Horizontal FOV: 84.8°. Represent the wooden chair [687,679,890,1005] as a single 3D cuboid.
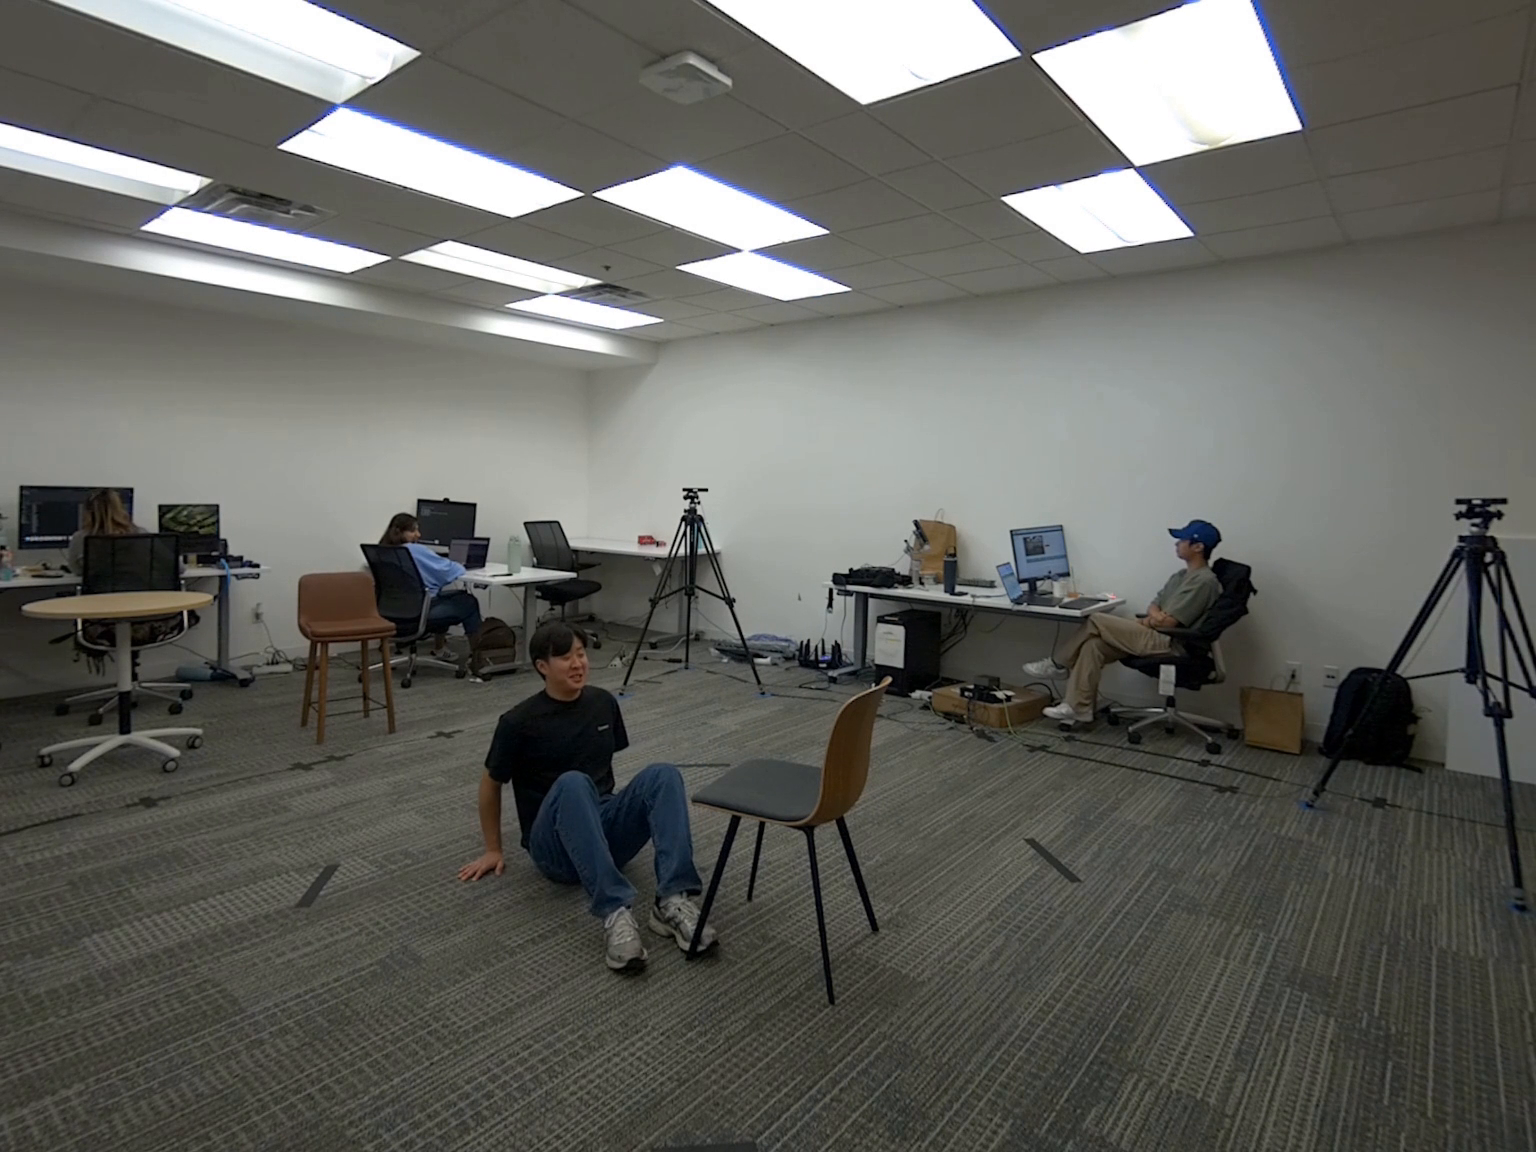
[{"bbox_3d":[0.054,0.700,2.578,0.538,0.873,0.467,8,6,25],"label":"wooden chair"}]
